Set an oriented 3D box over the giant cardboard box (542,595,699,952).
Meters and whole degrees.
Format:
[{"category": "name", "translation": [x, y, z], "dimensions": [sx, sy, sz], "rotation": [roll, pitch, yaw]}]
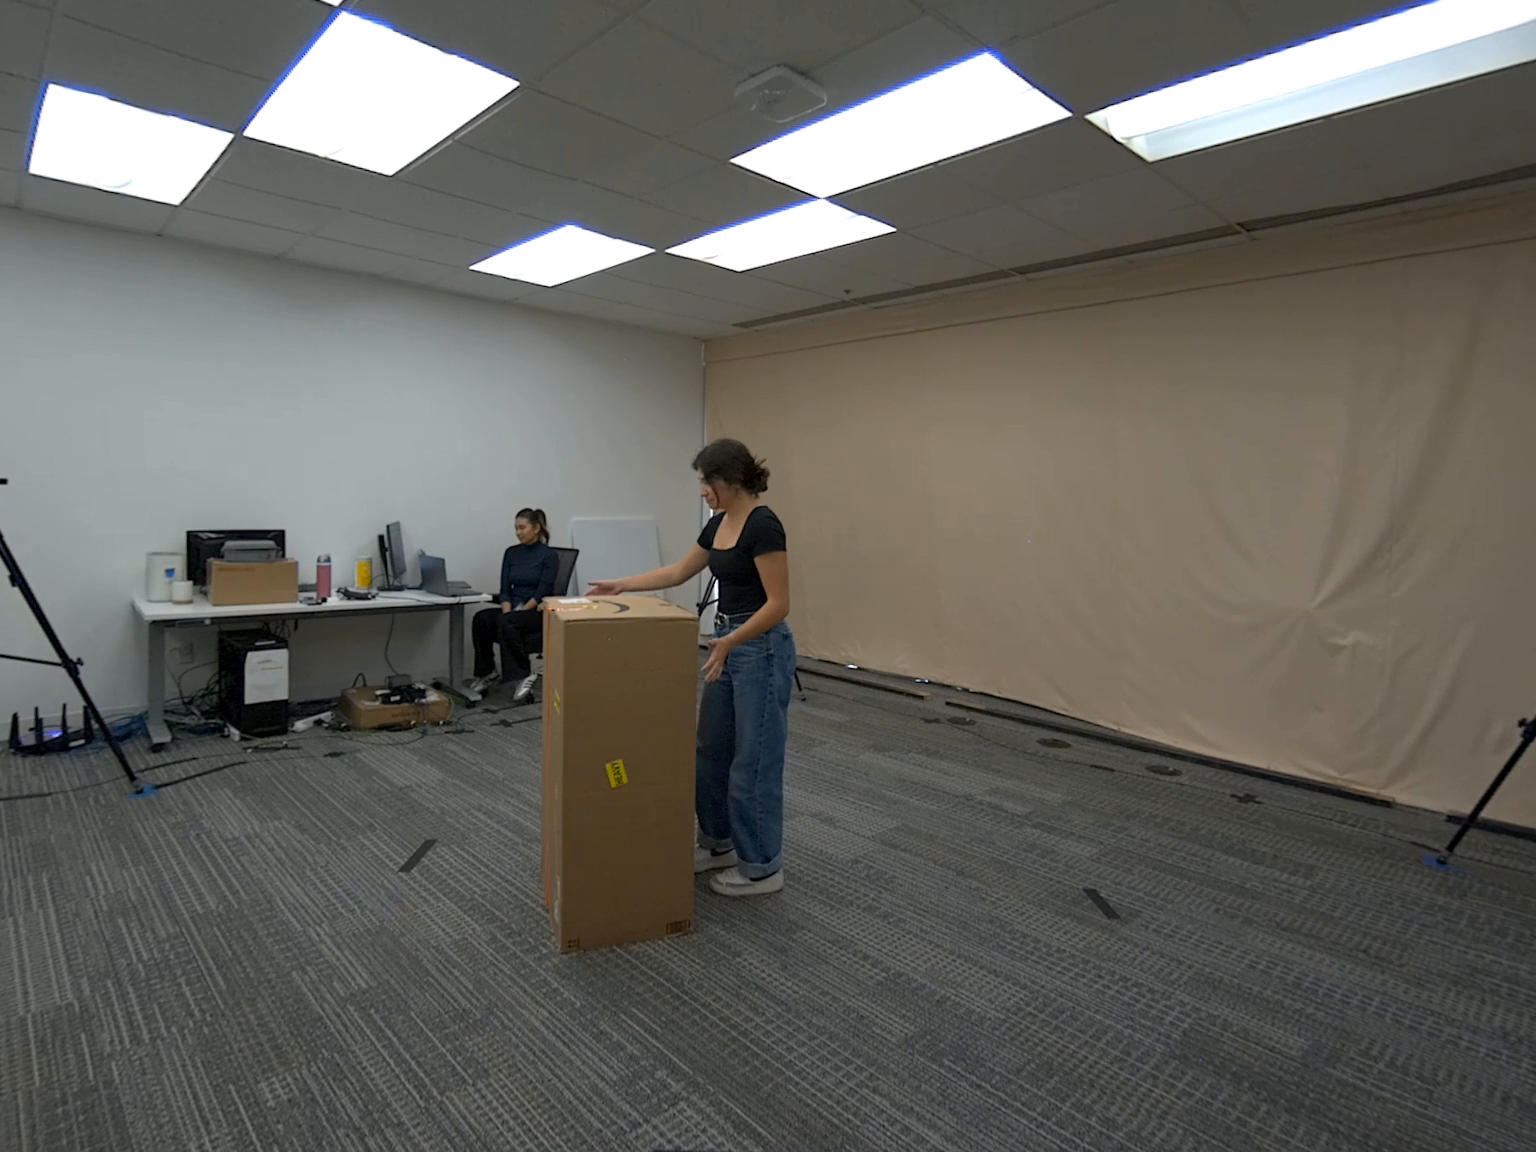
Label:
[{"category": "giant cardboard box", "translation": [-0.533, 0.612, 2.851], "dimensions": [0.420, 1.023, 0.588], "rotation": [0, 4, -21]}]
